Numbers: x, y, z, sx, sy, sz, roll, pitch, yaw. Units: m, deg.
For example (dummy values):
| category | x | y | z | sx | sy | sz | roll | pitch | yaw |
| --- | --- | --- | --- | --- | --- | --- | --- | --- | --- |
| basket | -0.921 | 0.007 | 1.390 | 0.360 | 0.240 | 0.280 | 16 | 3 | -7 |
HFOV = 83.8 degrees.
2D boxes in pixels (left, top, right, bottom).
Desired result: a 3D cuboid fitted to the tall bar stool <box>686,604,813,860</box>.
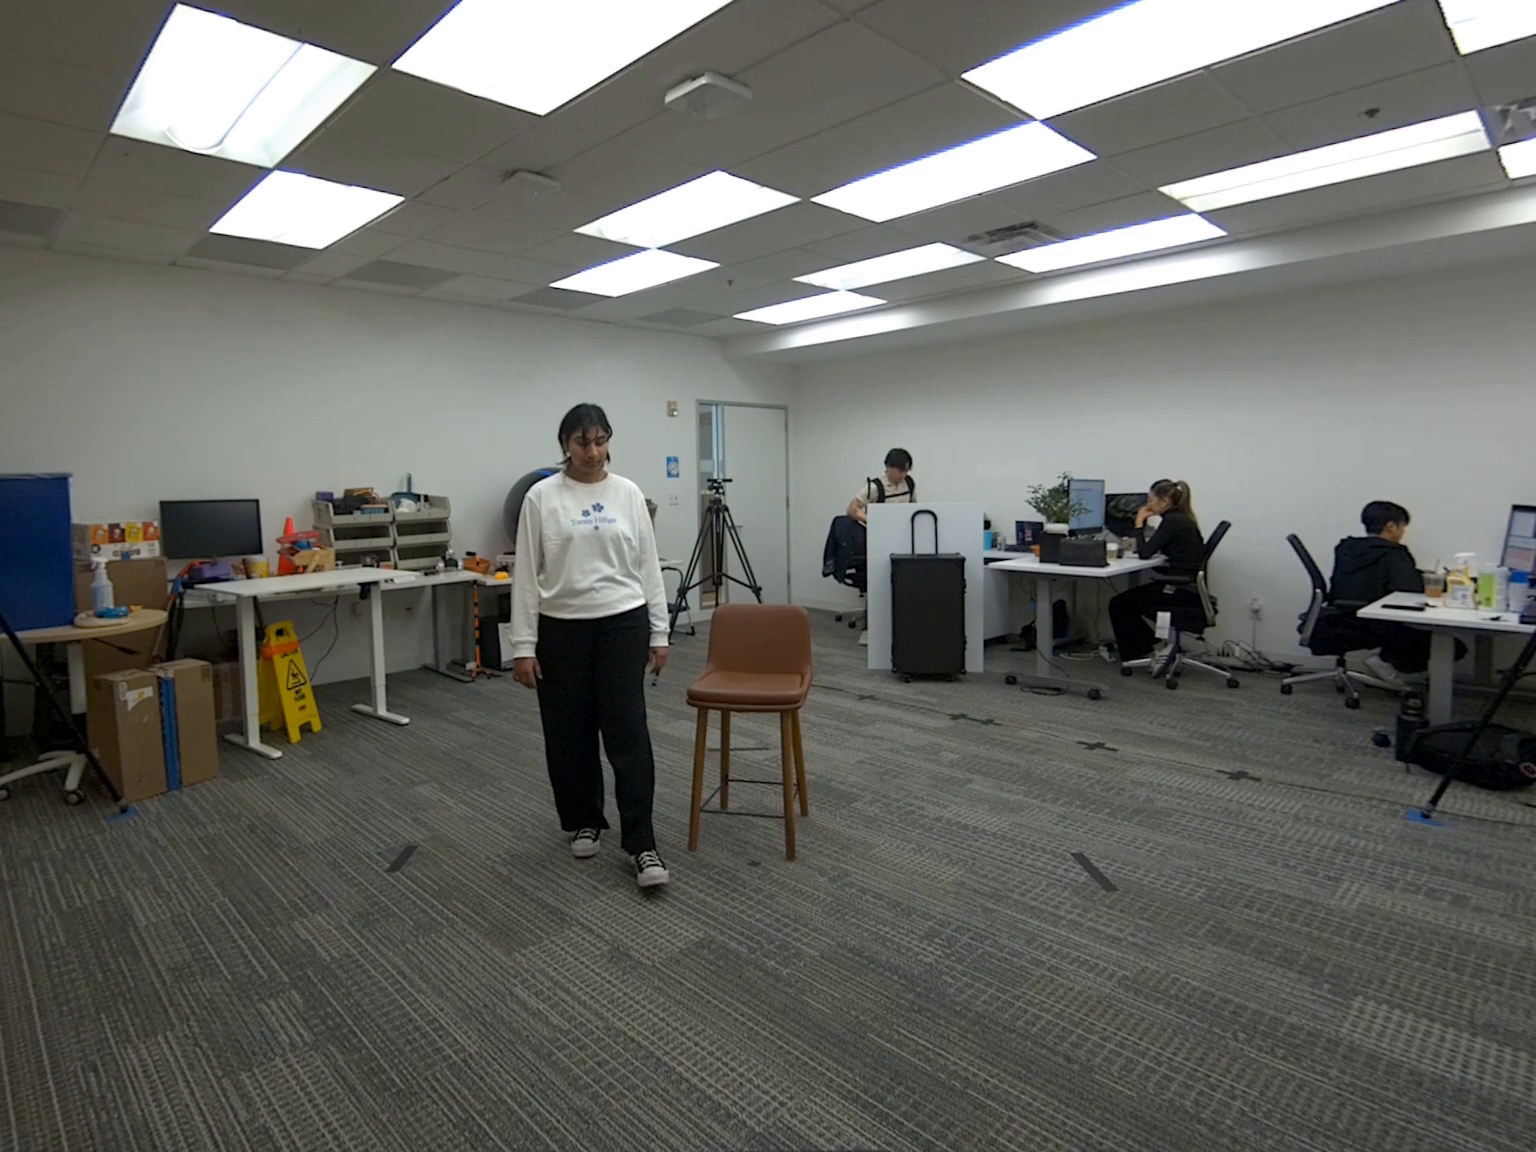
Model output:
| category | x | y | z | sx | sy | sz | roll | pitch | yaw |
| --- | --- | --- | --- | --- | --- | --- | --- | --- | --- |
| tall bar stool | -0.062 | 0.581 | 3.375 | 0.463 | 0.888 | 0.462 | 0 | 3 | 14 |
